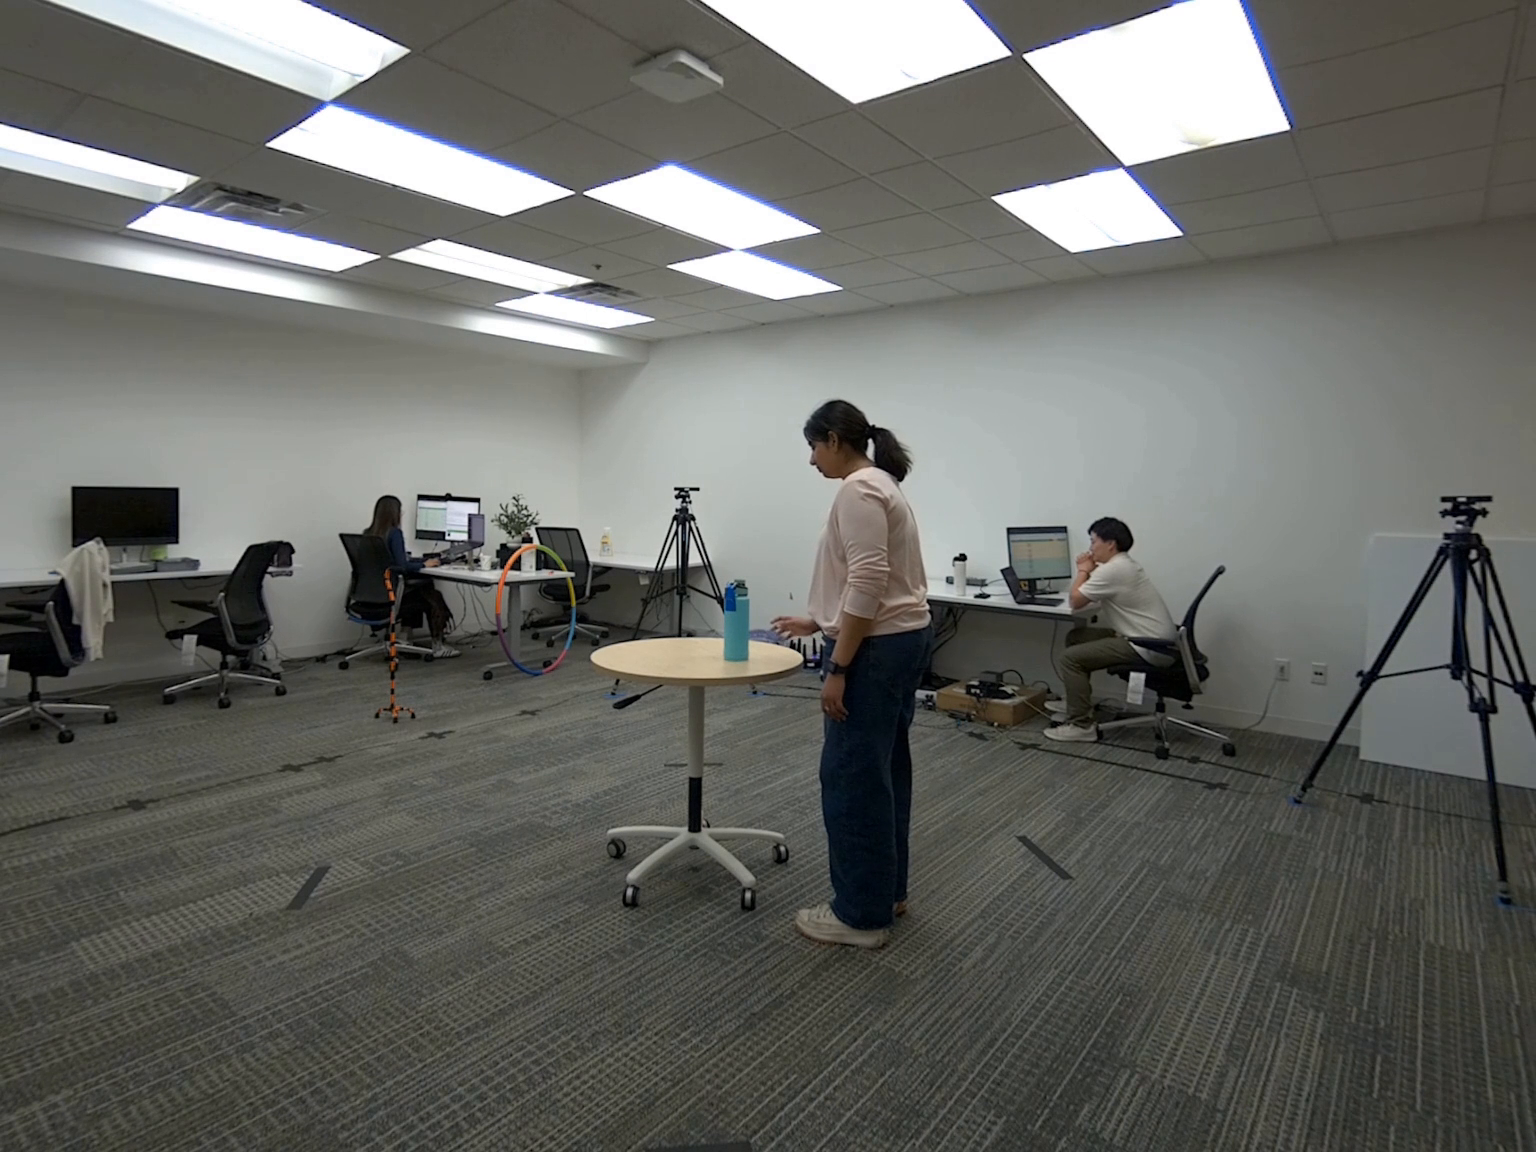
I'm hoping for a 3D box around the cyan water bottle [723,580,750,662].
[{"bbox_3d":[-0.124,0.153,3.011,0.092,0.282,0.093,-2,4,-2],"label":"cyan water bottle"}]
